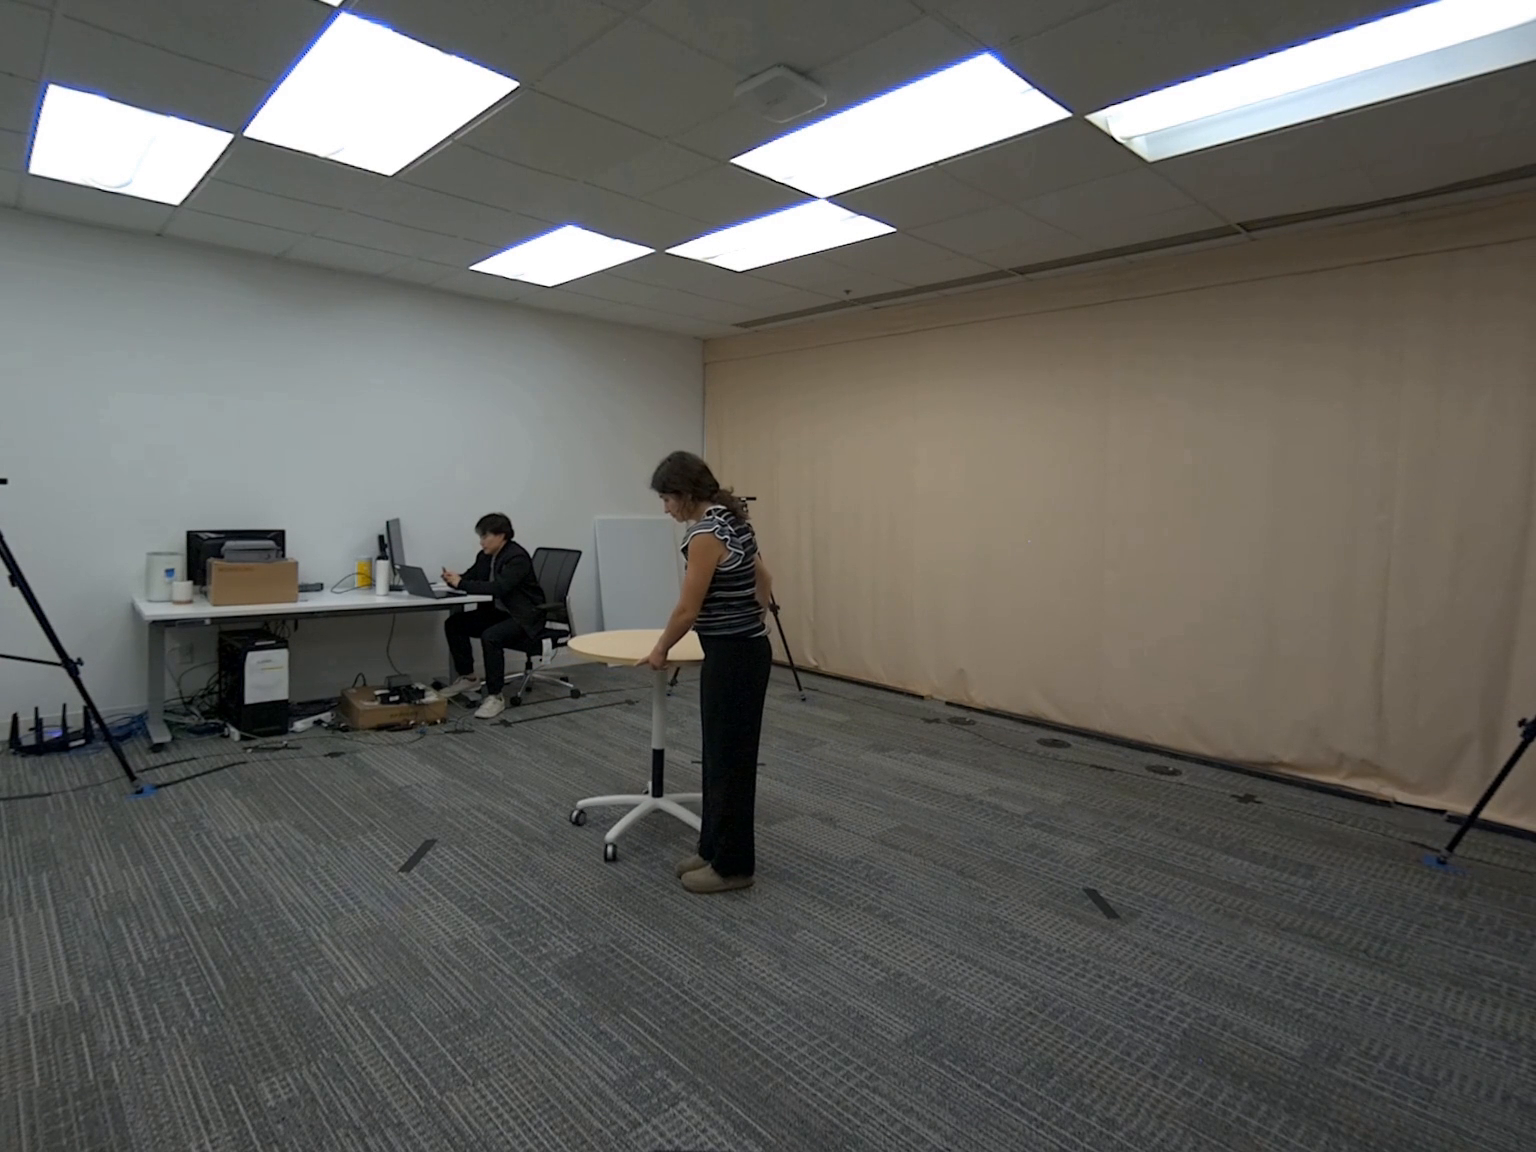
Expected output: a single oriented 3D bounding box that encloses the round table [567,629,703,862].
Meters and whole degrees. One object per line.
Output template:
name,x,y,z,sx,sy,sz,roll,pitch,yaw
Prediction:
round table,-0.459,0.669,3.493,0.784,0.785,0.787,2,3,-1
